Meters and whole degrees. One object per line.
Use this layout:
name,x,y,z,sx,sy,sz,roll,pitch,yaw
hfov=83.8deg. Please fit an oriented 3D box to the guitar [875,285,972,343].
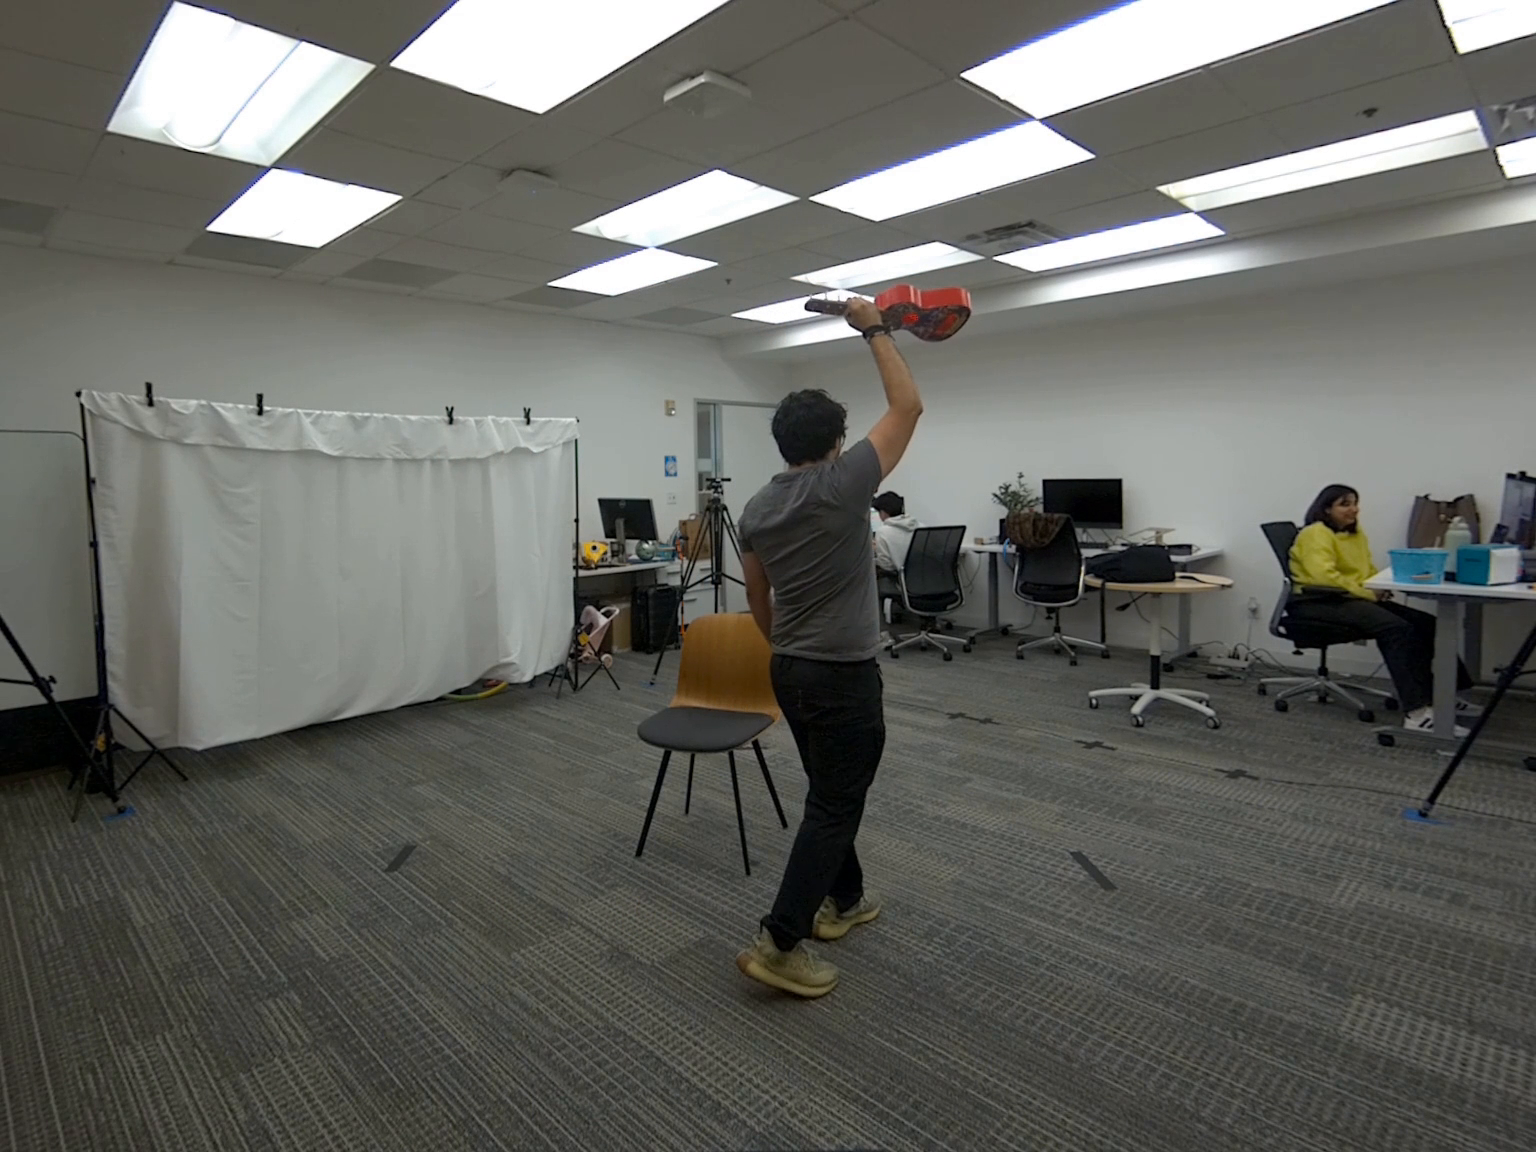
guitar,0.368,-0.787,2.446,0.486,0.072,0.194,7,-20,-24
